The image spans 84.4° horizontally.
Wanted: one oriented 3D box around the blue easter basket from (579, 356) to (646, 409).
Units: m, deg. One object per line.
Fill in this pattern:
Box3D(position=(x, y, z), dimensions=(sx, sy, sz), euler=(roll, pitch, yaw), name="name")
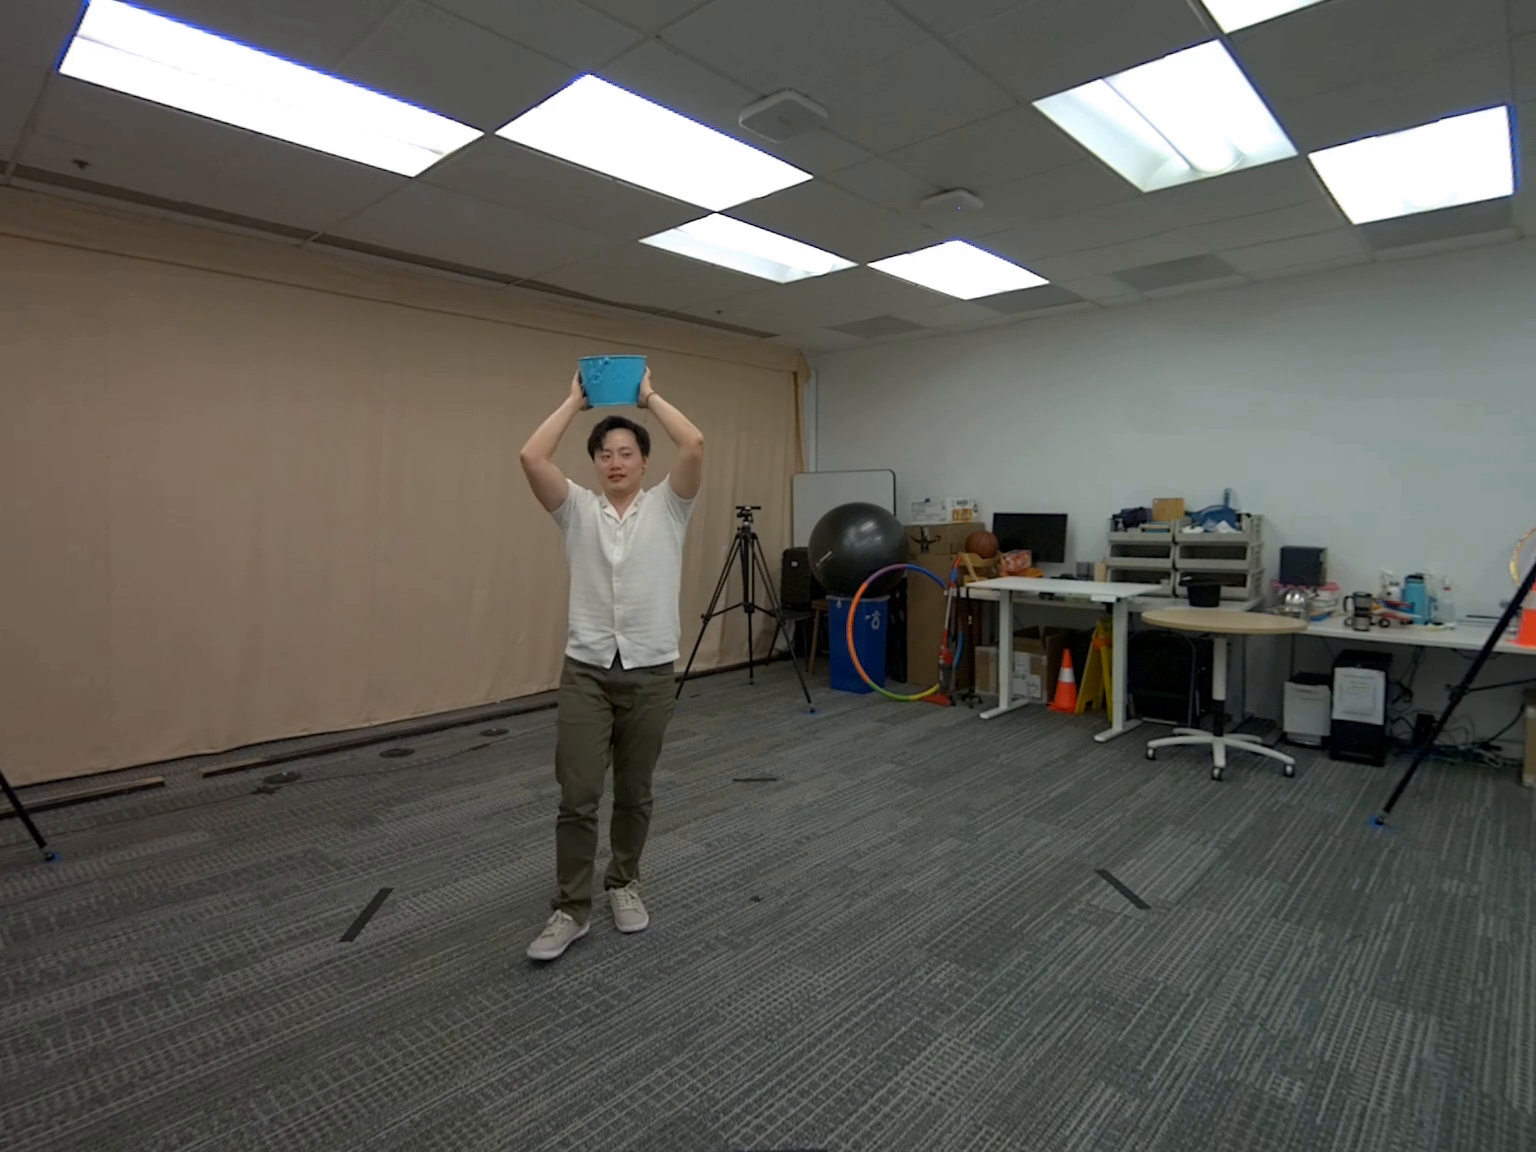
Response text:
Box3D(position=(-0.522, -0.650, 2.790), dimensions=(0.243, 0.155, 0.245), euler=(-3, 9, -1), name="blue easter basket")
